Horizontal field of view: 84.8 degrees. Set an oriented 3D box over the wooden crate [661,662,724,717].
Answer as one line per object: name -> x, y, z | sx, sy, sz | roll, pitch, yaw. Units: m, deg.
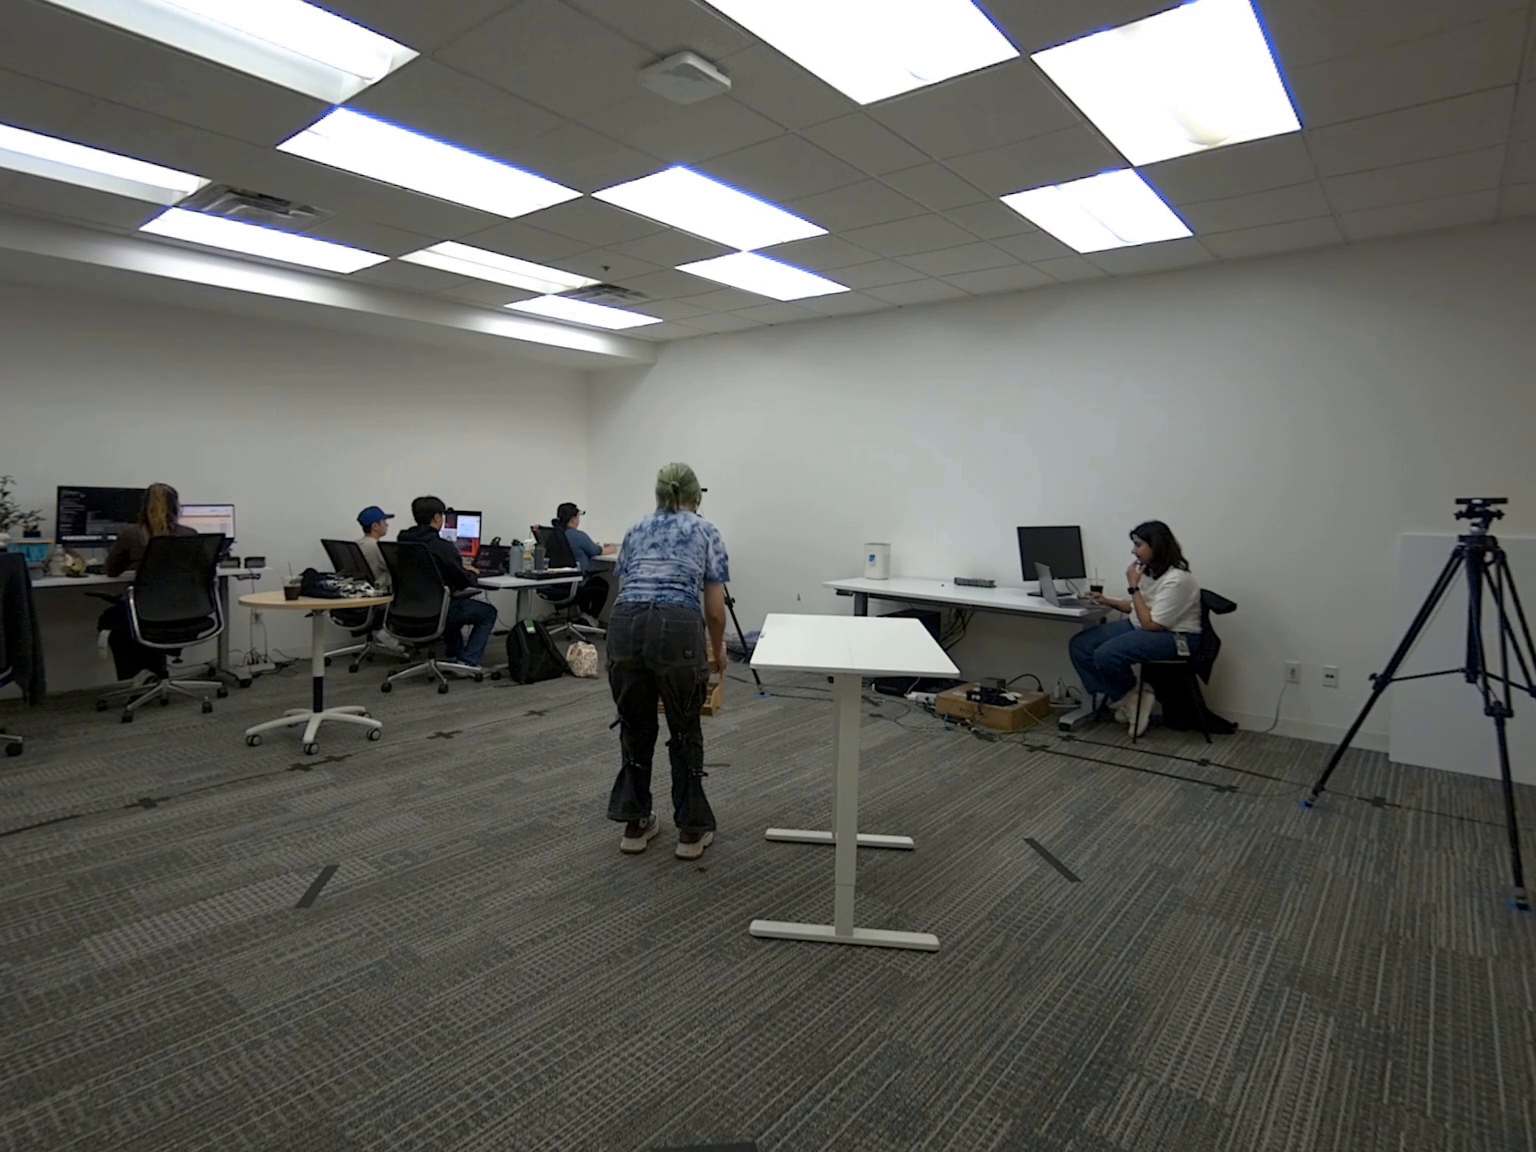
wooden crate -> -0.363, 0.430, 3.635 | 0.328, 0.272, 0.300 | 1, 4, 9
